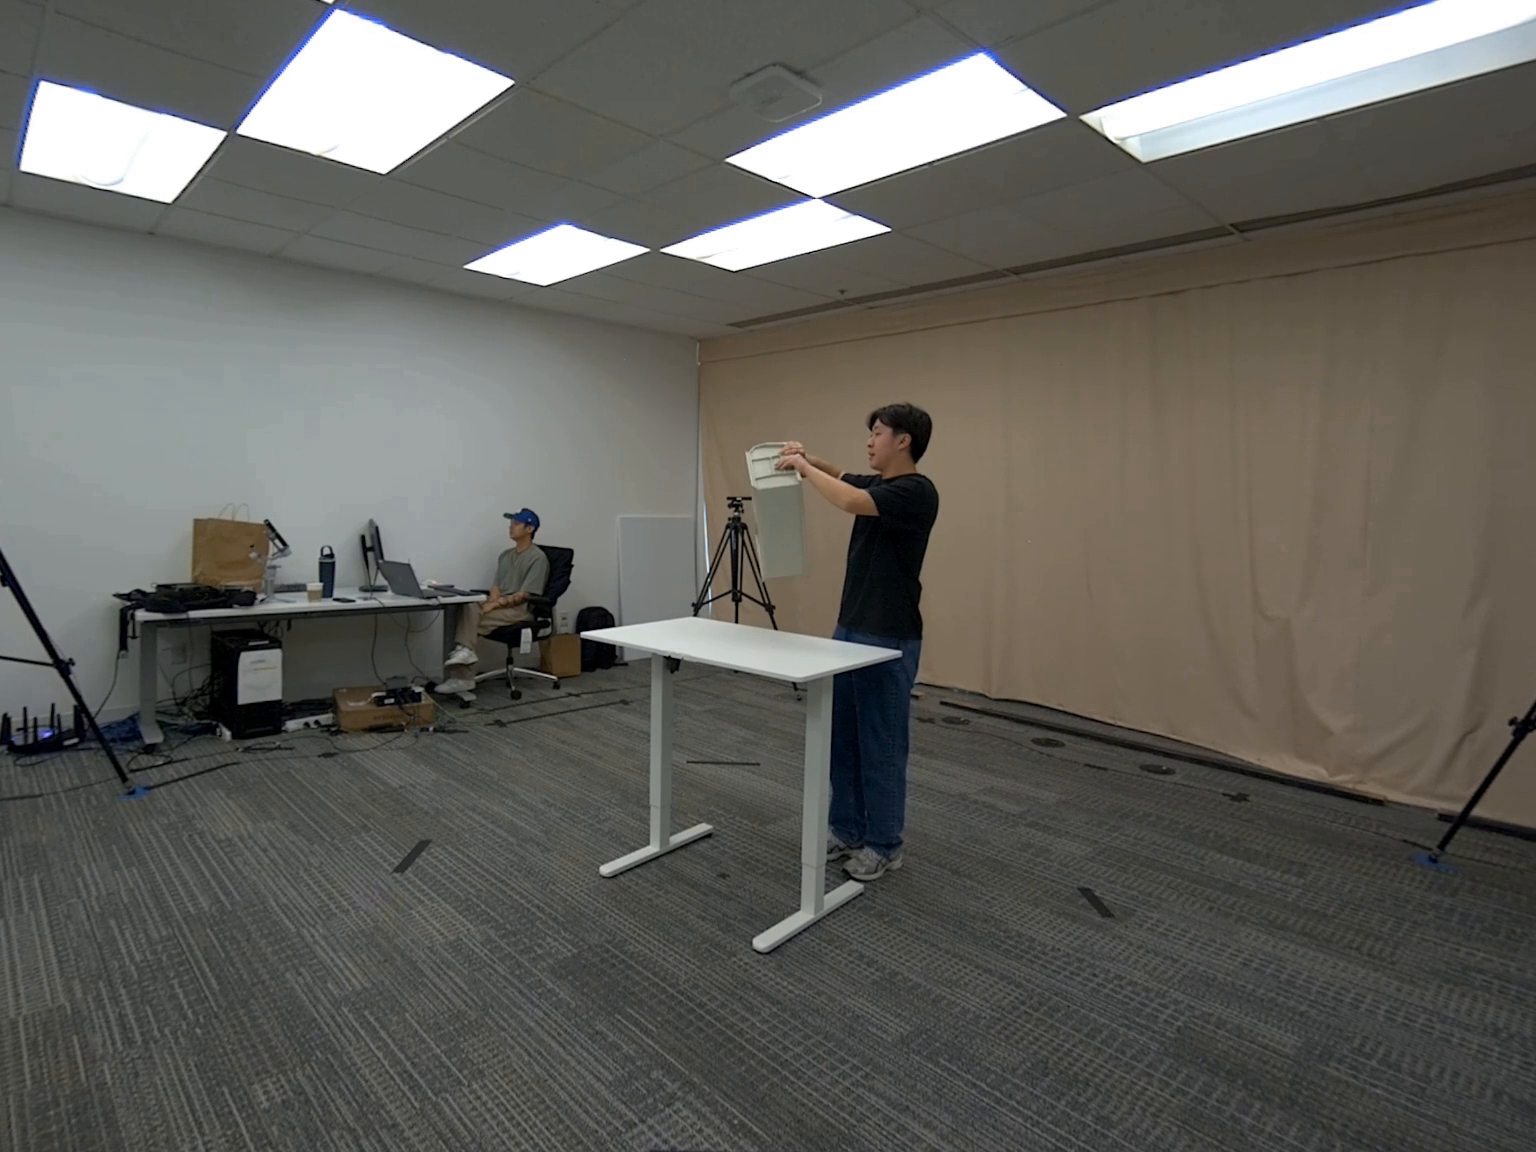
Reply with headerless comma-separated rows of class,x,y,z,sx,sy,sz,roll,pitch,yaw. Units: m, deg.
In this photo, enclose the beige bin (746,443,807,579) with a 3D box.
beige bin,0.031,-0.254,3.277,0.189,0.413,0.385,-7,31,-1
